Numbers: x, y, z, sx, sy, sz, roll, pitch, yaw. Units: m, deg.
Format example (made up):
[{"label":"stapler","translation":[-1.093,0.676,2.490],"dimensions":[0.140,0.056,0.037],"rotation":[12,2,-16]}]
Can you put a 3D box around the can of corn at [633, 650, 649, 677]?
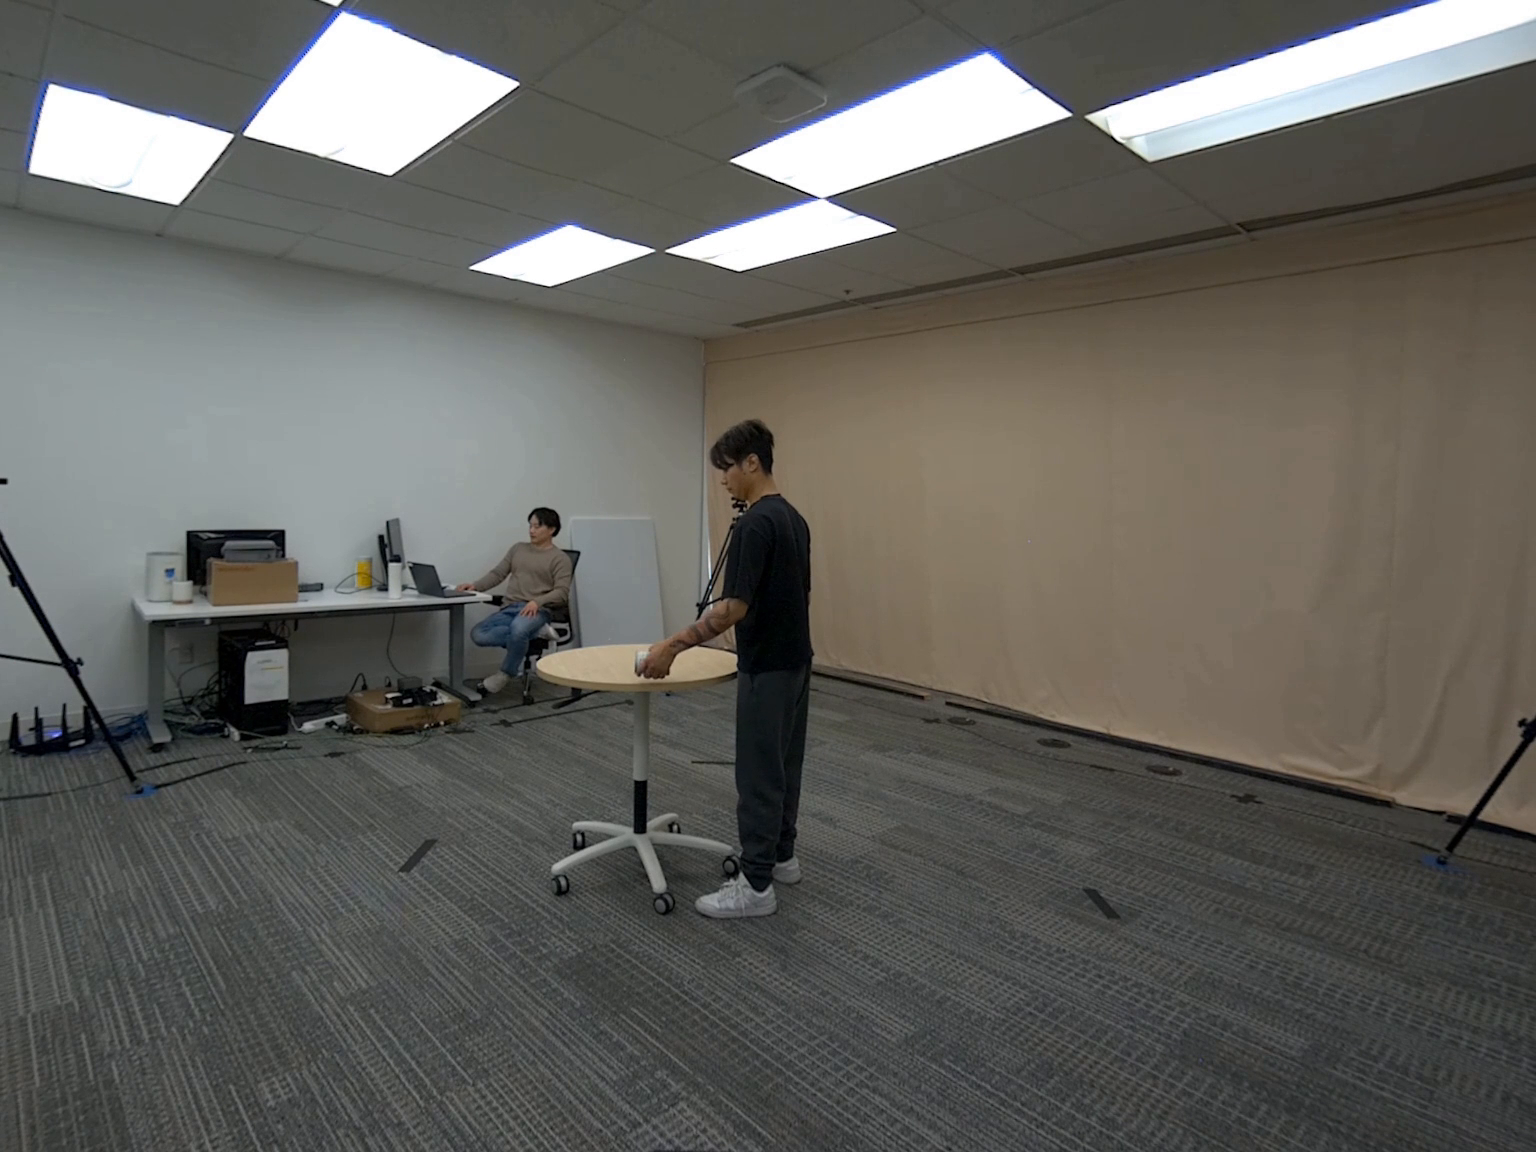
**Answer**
[{"label":"can of corn","translation":[-0.372,0.281,2.733],"dimensions":[0.111,0.074,0.074],"rotation":[3,4,-4]}]
